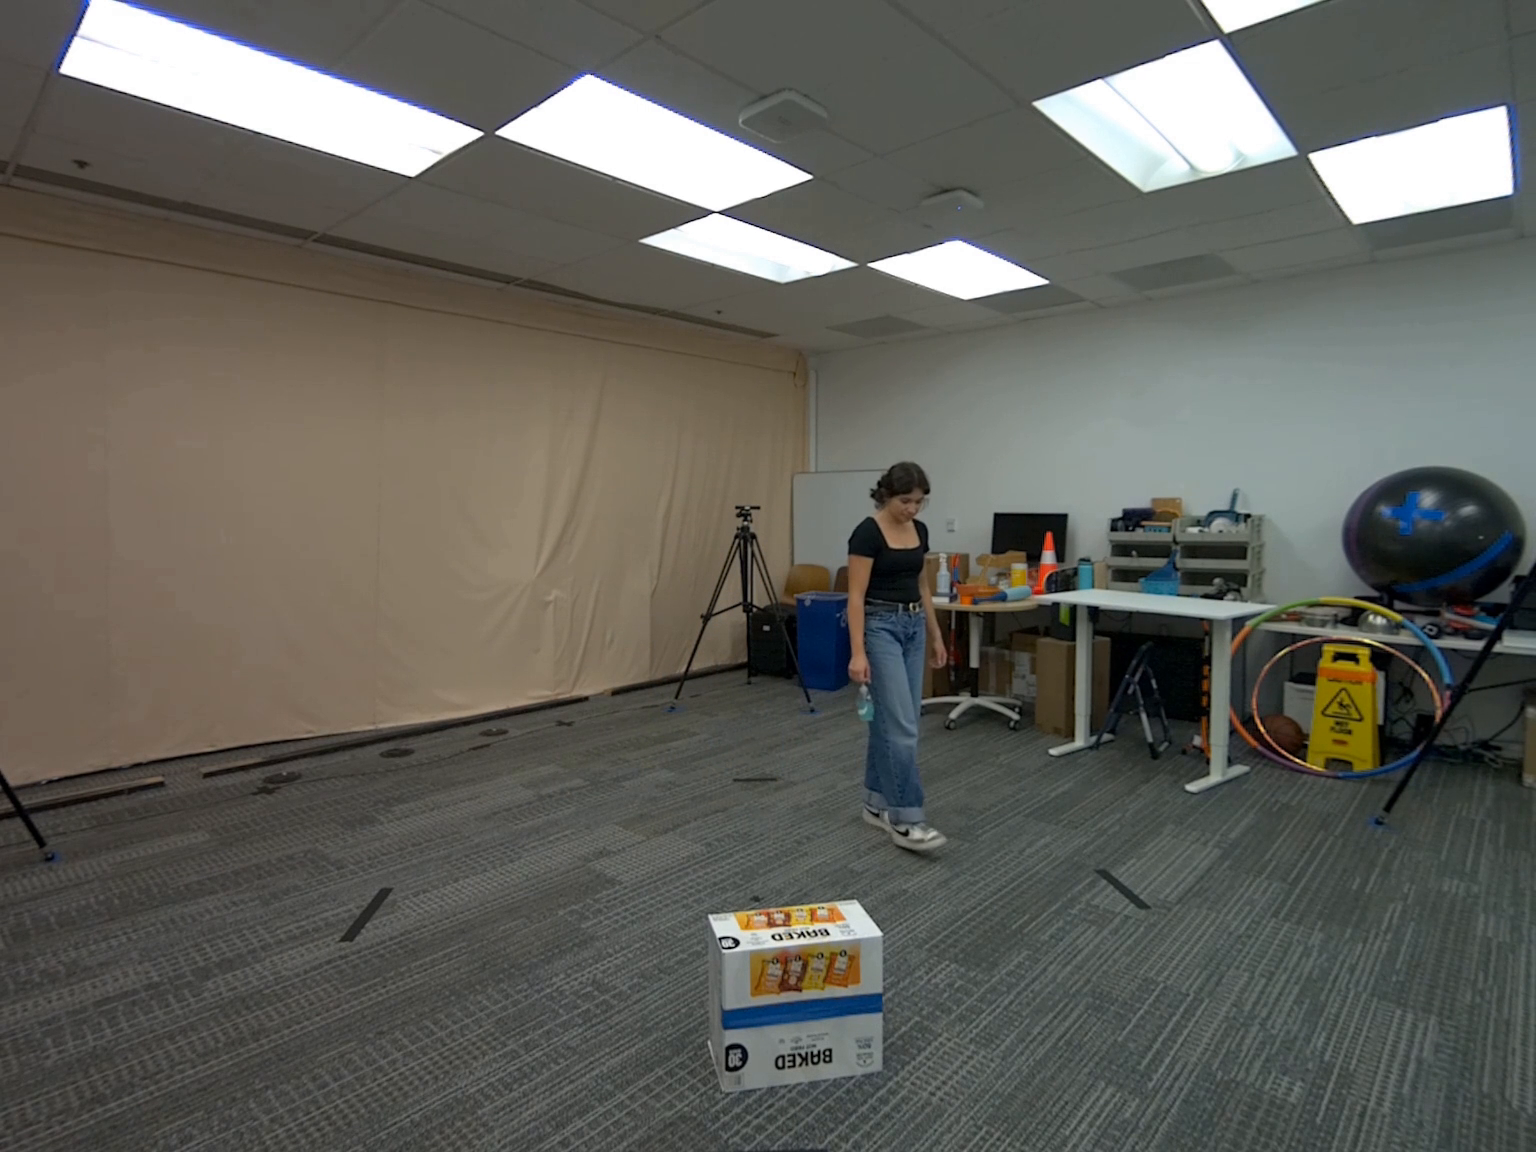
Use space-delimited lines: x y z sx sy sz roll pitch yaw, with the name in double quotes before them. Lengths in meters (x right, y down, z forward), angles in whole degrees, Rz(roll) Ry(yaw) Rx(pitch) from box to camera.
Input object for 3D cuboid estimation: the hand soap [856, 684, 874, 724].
"hand soap" 0.400 0.492 3.368 0.042 0.169 0.086 2 -6 -18
